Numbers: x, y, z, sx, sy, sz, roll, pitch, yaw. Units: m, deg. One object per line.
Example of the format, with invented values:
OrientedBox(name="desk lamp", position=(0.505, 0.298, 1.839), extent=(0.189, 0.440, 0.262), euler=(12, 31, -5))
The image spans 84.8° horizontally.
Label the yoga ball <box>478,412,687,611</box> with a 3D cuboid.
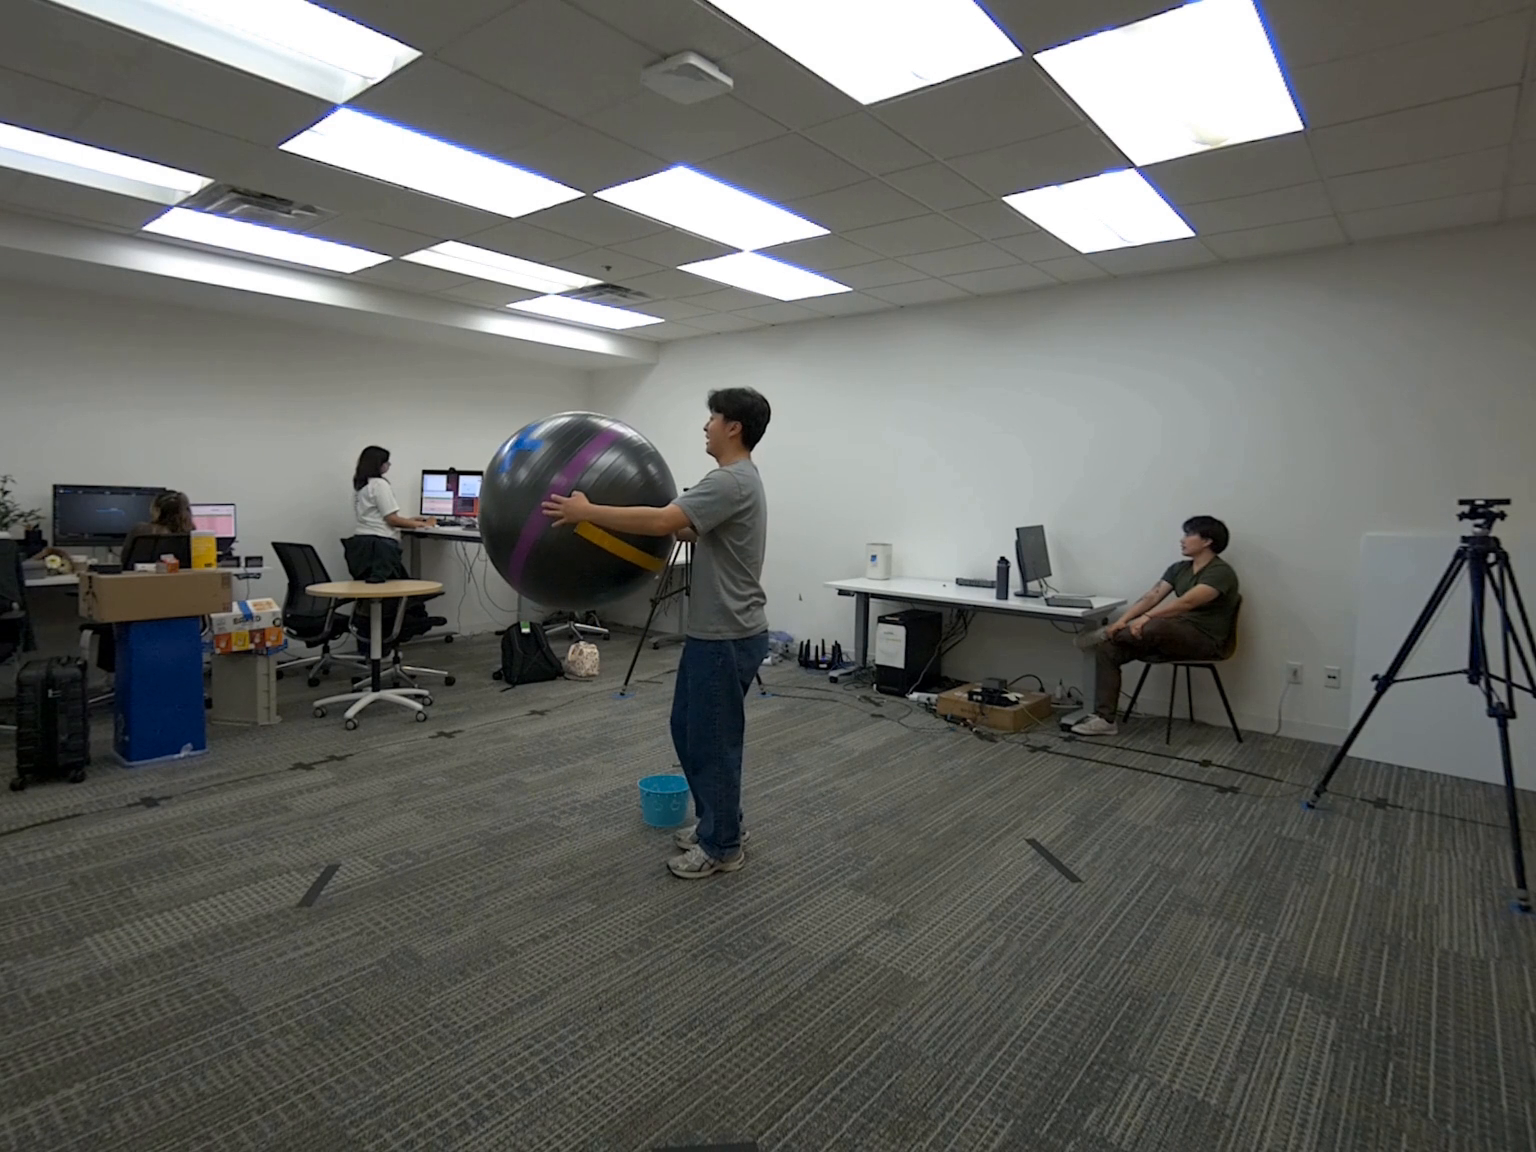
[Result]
OrientedBox(name="yoga ball", position=(-0.745, -0.237, 3.251), extent=(0.757, 0.756, 0.761), euler=(1, 4, -2))
